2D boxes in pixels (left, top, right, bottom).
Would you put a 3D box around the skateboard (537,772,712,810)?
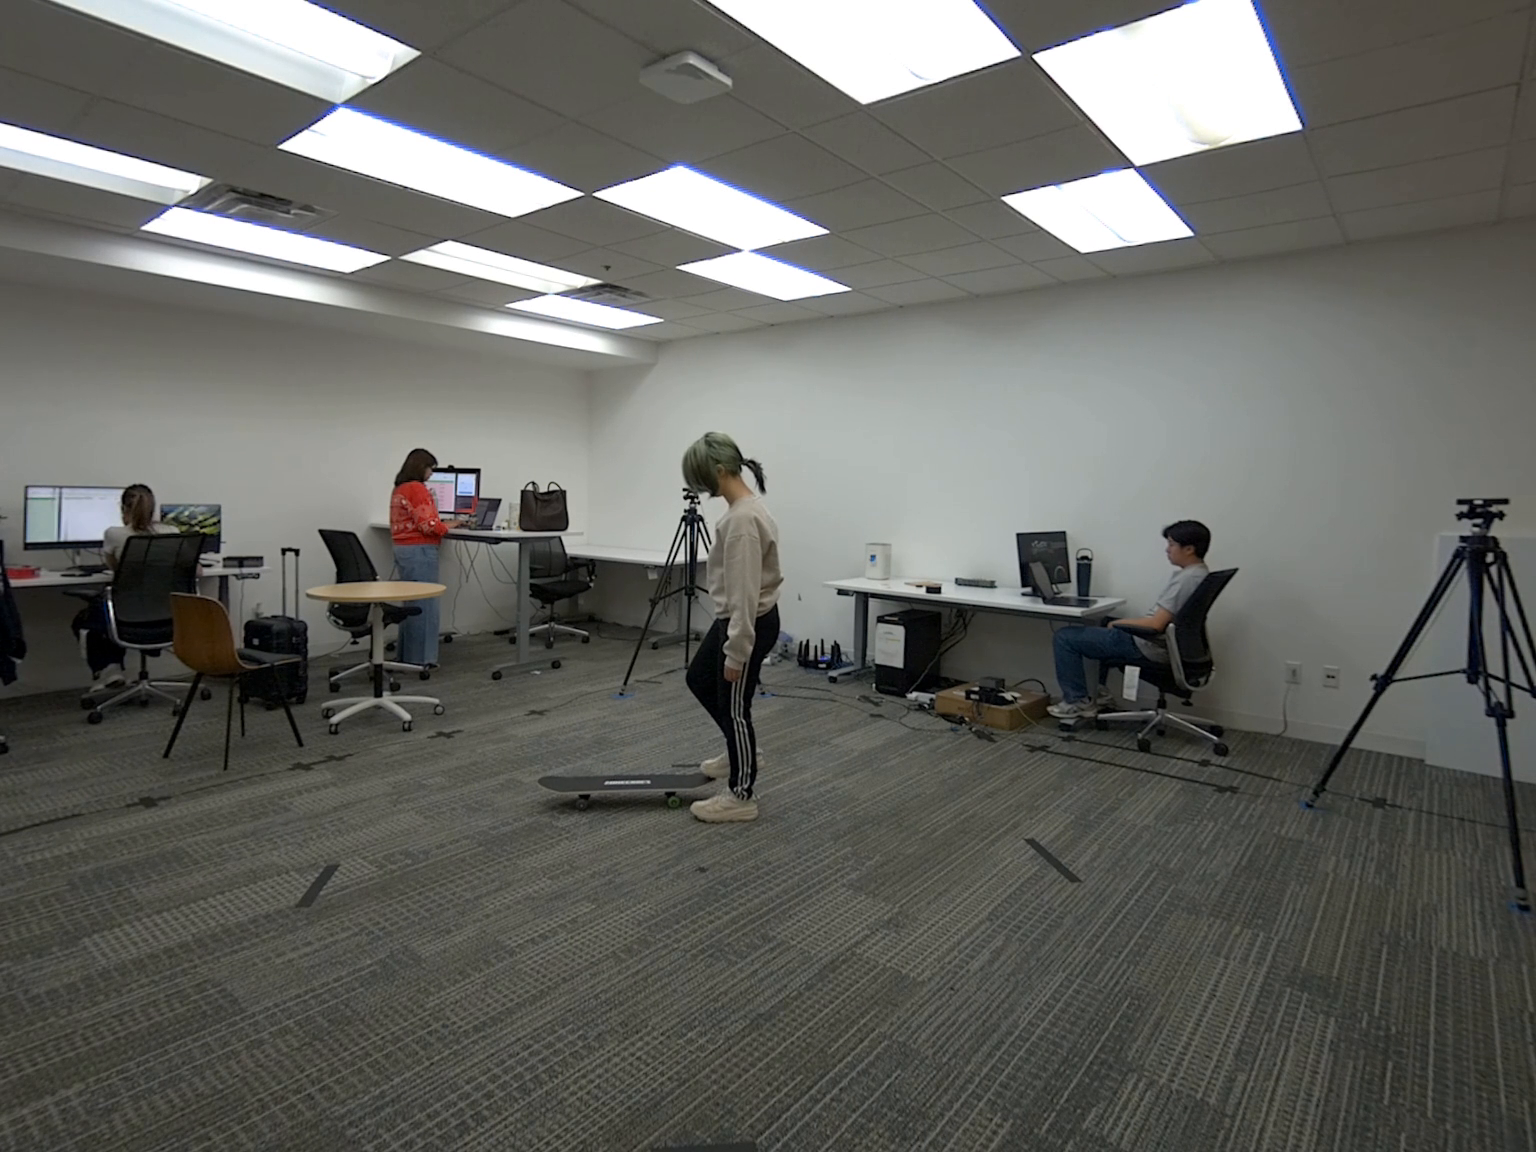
[{"bbox_3d":[-0.647,0.949,3.765,0.780,0.110,0.195,1,3,-7],"label":"skateboard"}]
